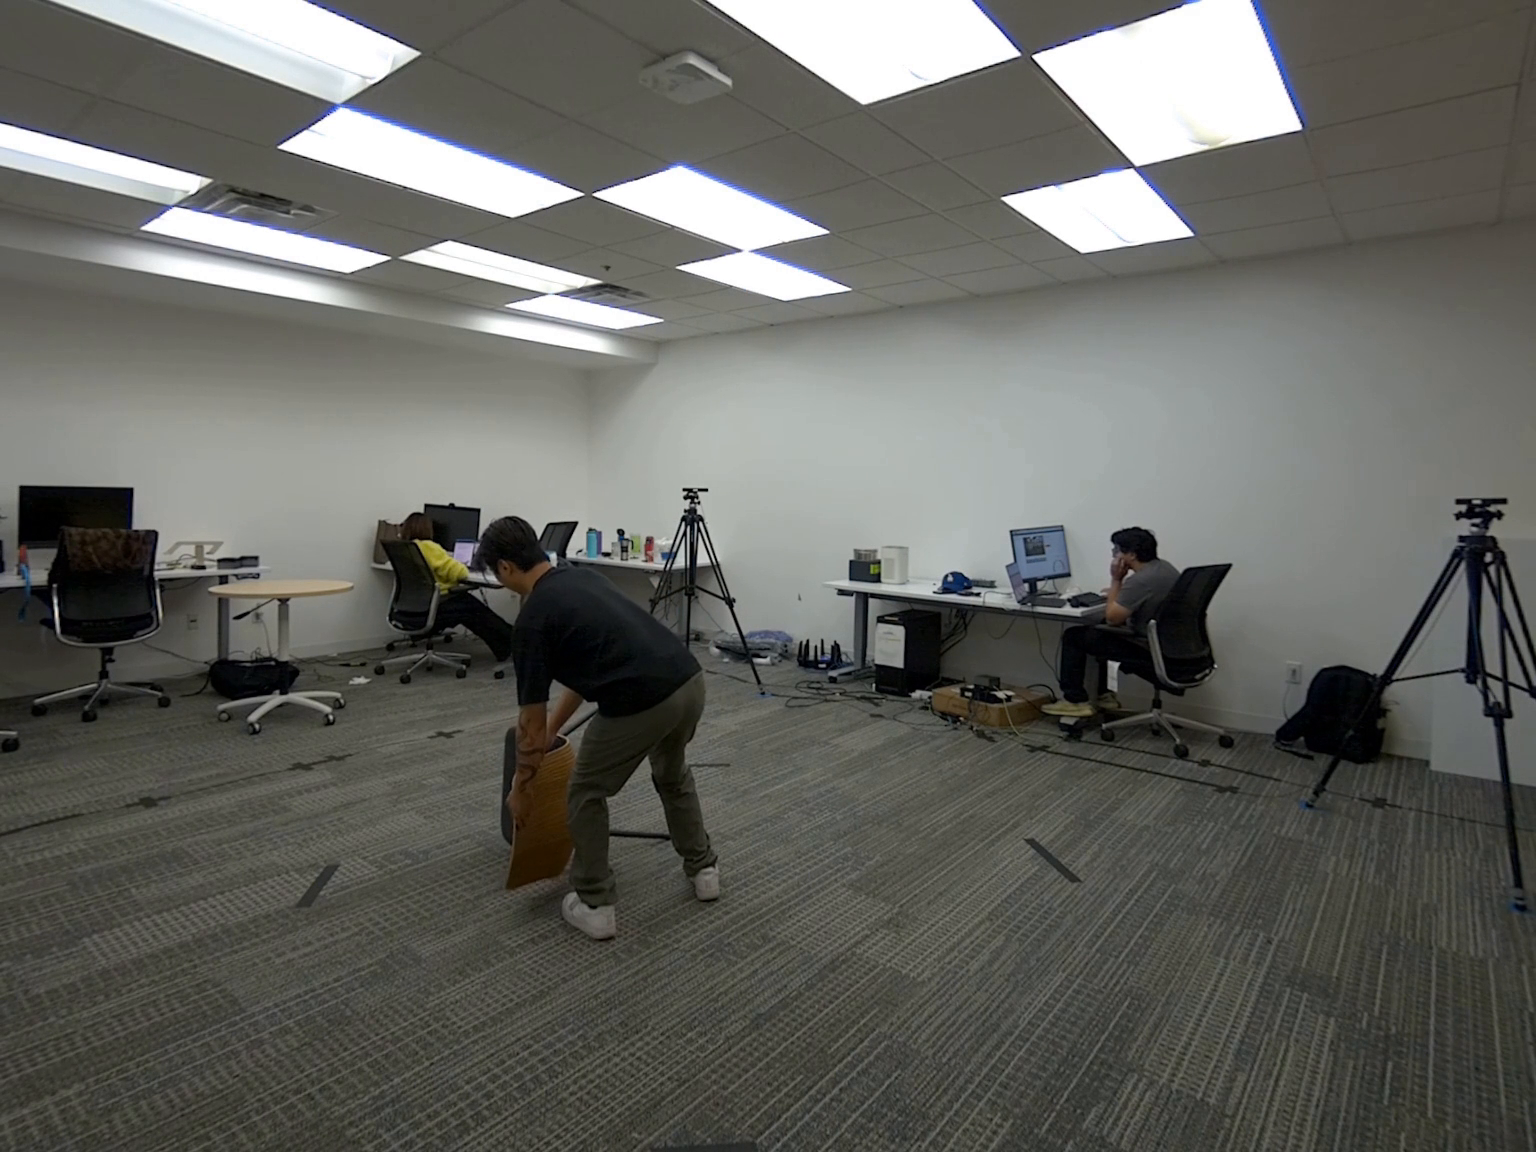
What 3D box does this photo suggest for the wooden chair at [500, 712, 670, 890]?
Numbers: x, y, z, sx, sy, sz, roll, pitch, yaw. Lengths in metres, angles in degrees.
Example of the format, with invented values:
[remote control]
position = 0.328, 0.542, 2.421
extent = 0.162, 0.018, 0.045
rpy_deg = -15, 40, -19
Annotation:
[wooden chair]
position = -0.815, 0.806, 3.175
extent = 0.539, 0.477, 0.853
rpy_deg = 5, 3, 31
